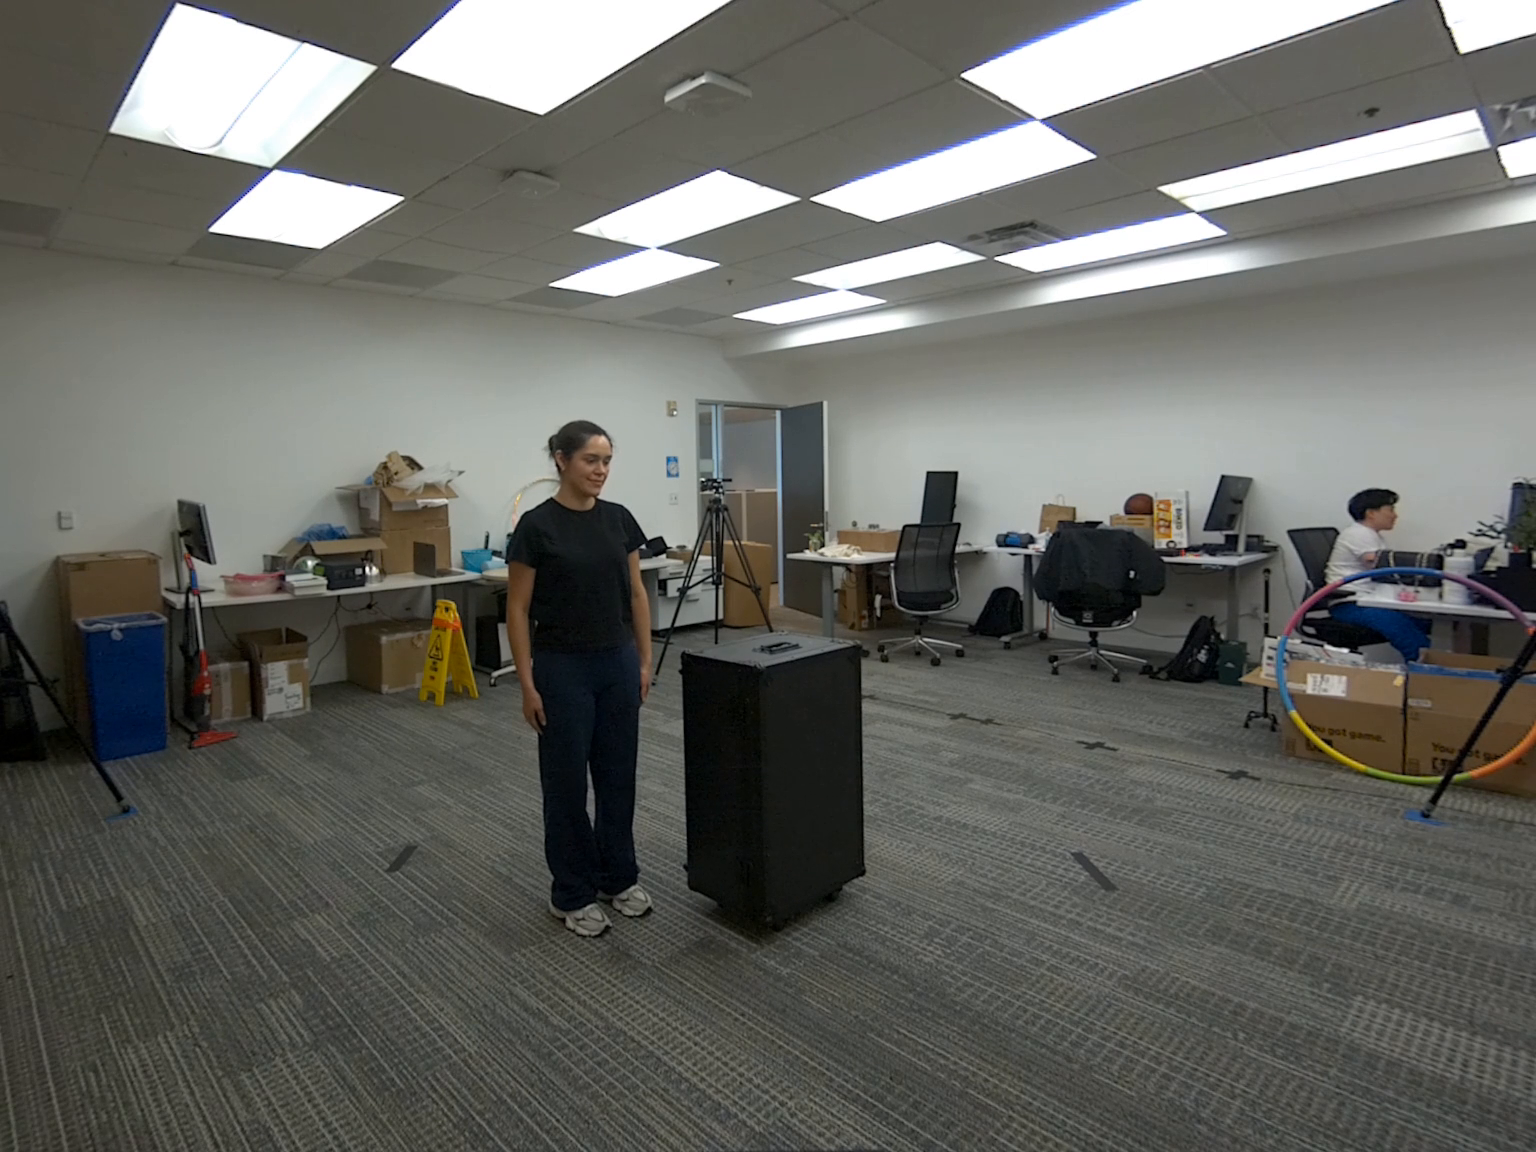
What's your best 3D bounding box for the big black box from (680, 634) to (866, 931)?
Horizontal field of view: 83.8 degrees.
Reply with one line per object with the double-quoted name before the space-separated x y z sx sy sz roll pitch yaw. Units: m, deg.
"big black box" 0.015 0.654 2.815 0.507 0.859 0.408 -5 5 -44
